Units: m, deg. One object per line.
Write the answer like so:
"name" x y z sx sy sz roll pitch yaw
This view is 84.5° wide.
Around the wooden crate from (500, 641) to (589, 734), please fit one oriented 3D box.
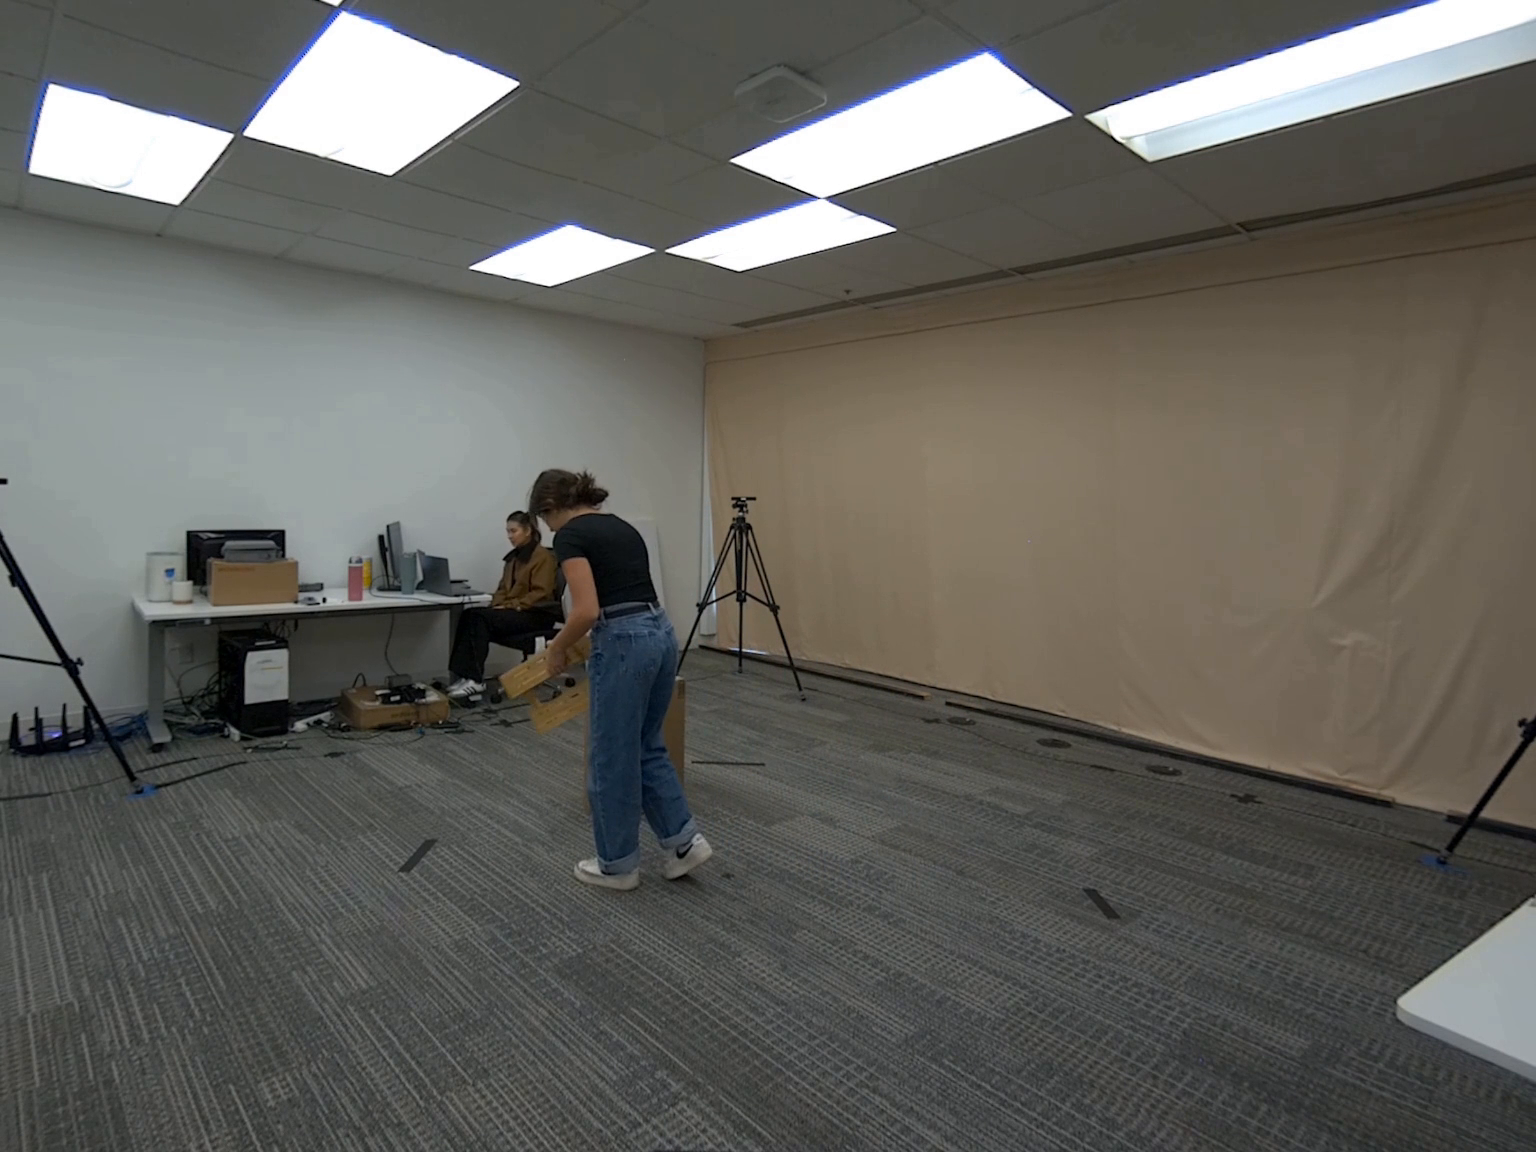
"wooden crate" -0.760 0.373 3.144 0.326 0.274 0.300 -30 0 21
